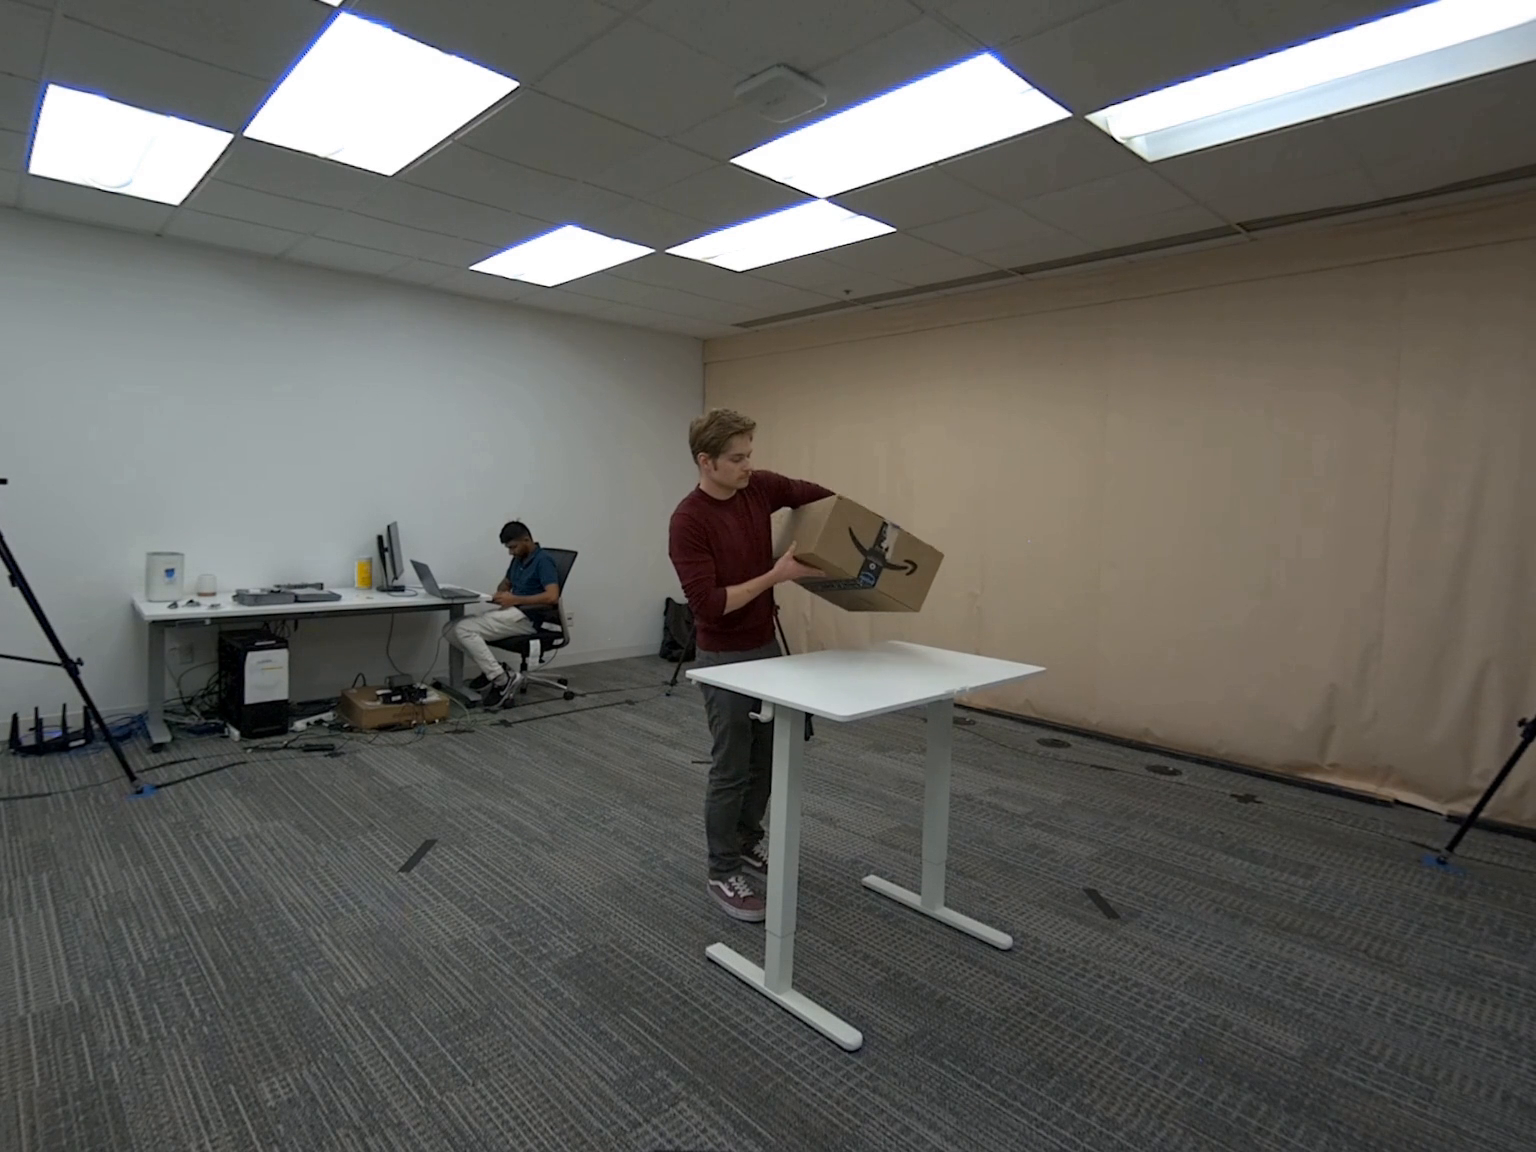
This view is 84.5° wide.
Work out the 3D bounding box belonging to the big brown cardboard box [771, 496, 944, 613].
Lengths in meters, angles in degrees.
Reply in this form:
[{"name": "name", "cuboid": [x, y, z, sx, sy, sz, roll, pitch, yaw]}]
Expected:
[{"name": "big brown cardboard box", "cuboid": [0.265, -0.055, 2.951, 0.412, 0.234, 0.595, 29, -9, -14]}]
